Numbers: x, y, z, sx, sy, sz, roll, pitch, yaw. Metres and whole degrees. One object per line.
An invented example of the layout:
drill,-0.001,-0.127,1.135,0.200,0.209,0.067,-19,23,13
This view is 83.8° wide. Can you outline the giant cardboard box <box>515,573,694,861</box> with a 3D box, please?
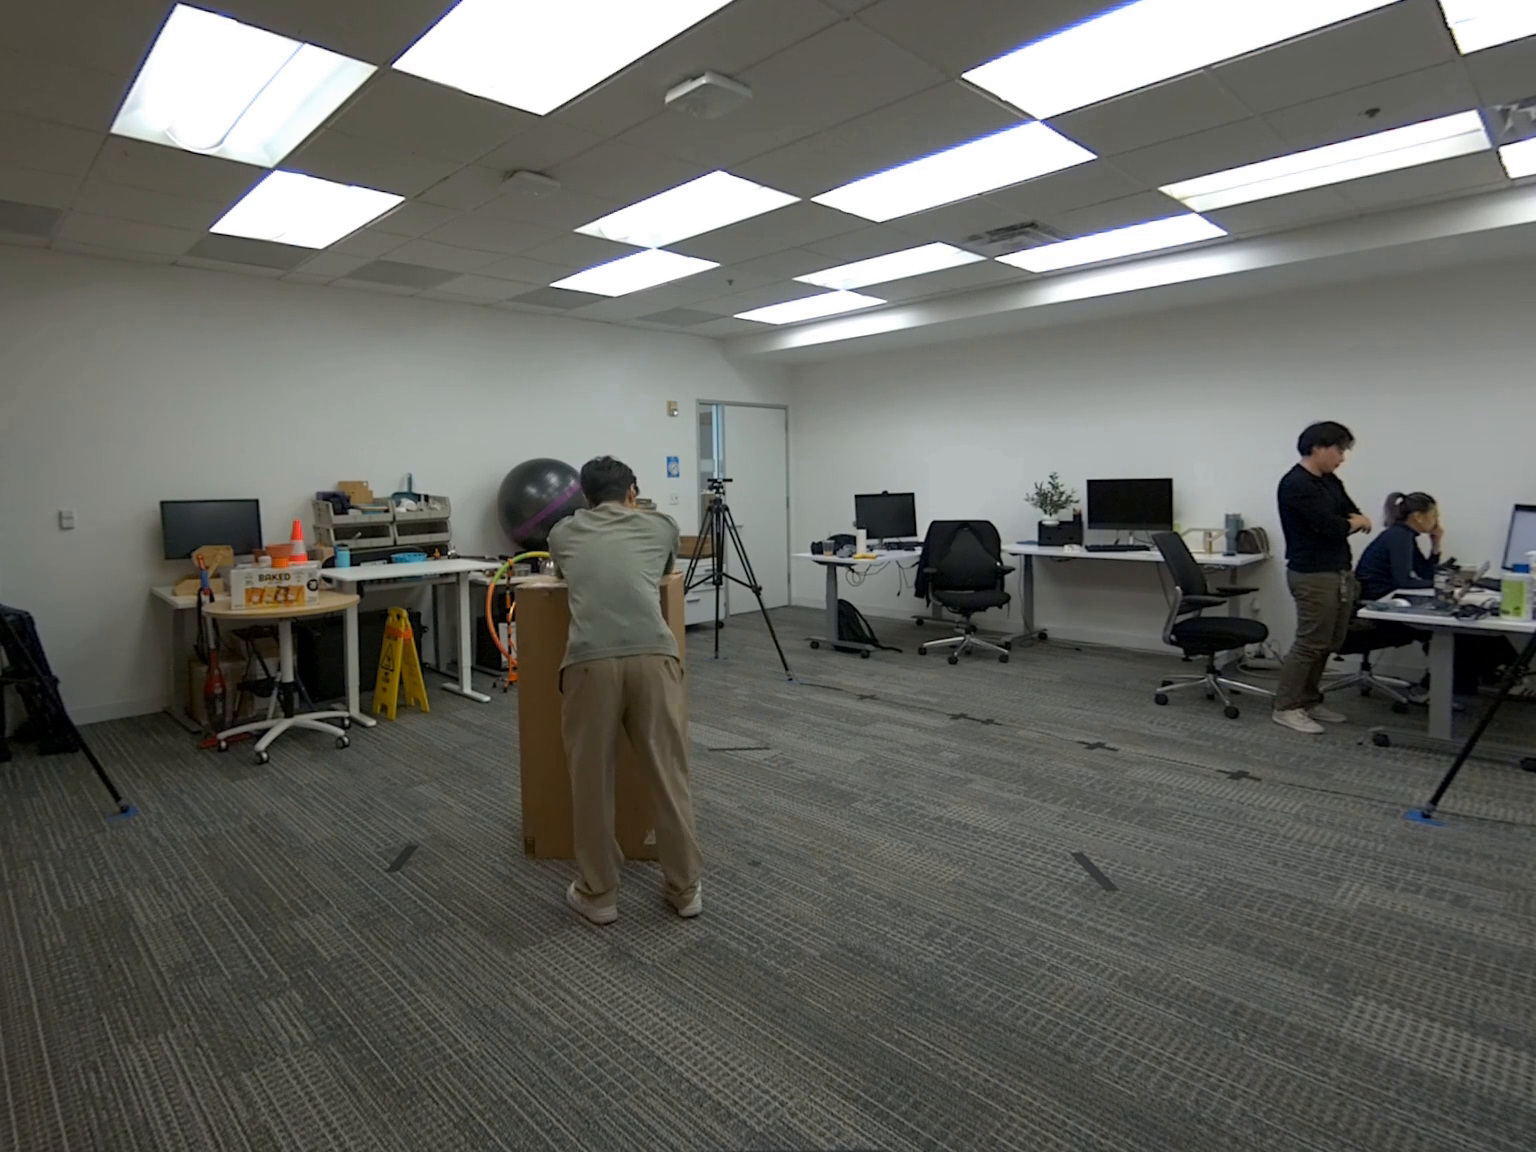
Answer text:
giant cardboard box,-0.633,0.516,3.336,0.580,1.022,0.426,0,4,4
